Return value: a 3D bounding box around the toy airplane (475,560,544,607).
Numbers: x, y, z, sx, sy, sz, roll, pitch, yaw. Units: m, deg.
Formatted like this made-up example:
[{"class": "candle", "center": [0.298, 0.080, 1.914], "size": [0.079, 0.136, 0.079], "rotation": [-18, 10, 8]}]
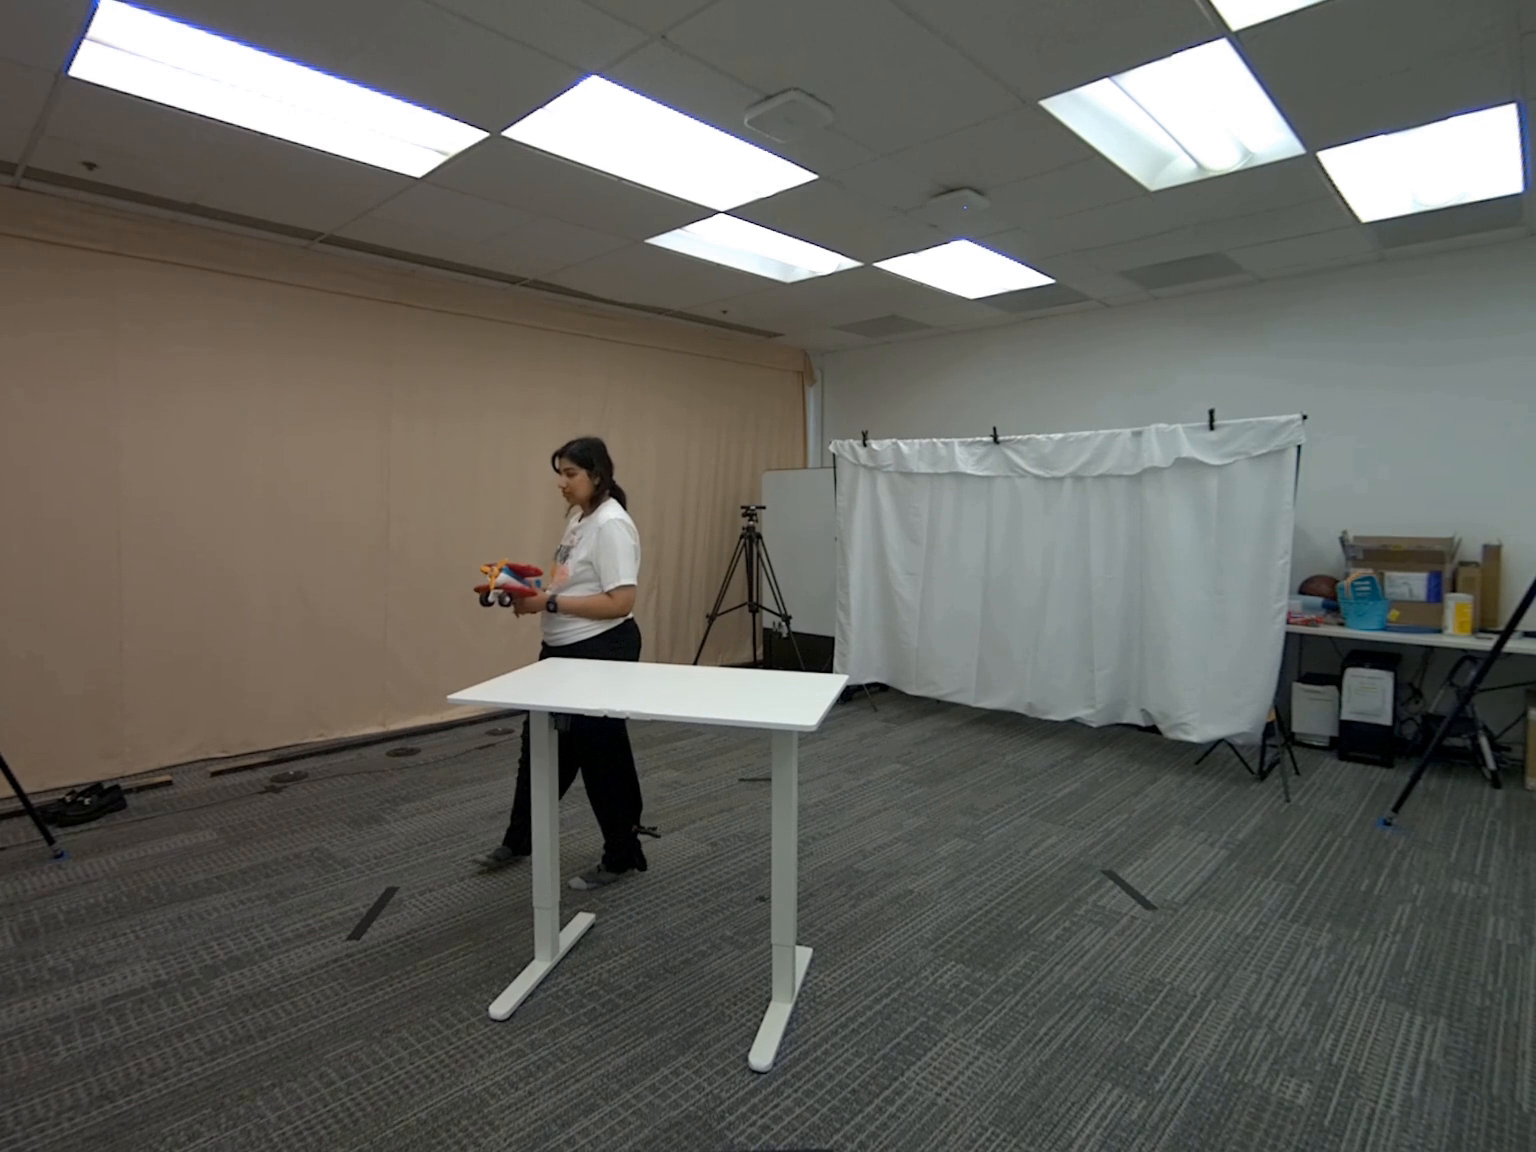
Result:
[{"class": "toy airplane", "center": [-0.914, 0.046, 2.978], "size": [0.250, 0.157, 0.258], "rotation": [4, -12, -5]}]
